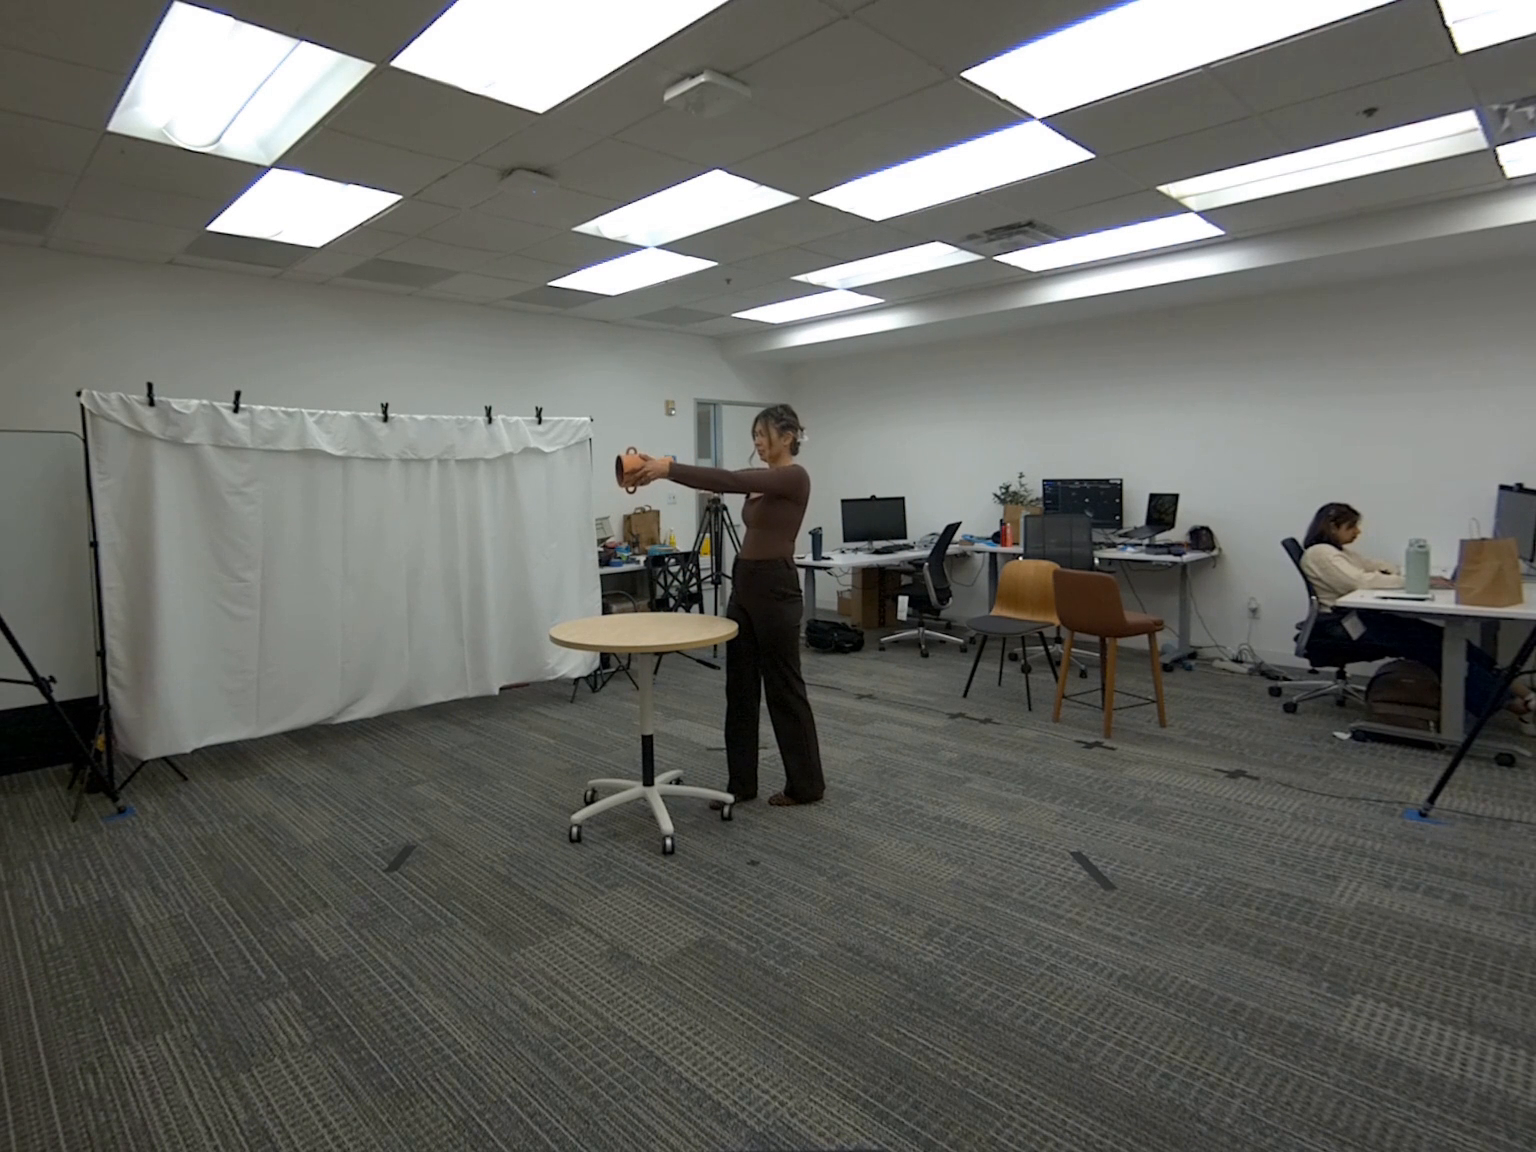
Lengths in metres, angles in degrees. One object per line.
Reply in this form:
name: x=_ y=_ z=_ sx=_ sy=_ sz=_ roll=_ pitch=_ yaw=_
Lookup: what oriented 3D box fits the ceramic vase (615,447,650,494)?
ceramic vase: x=-0.495 y=-0.426 z=3.435 sx=0.215 sy=0.138 sz=0.158 roll=-5 pitch=-24 yaw=-24
